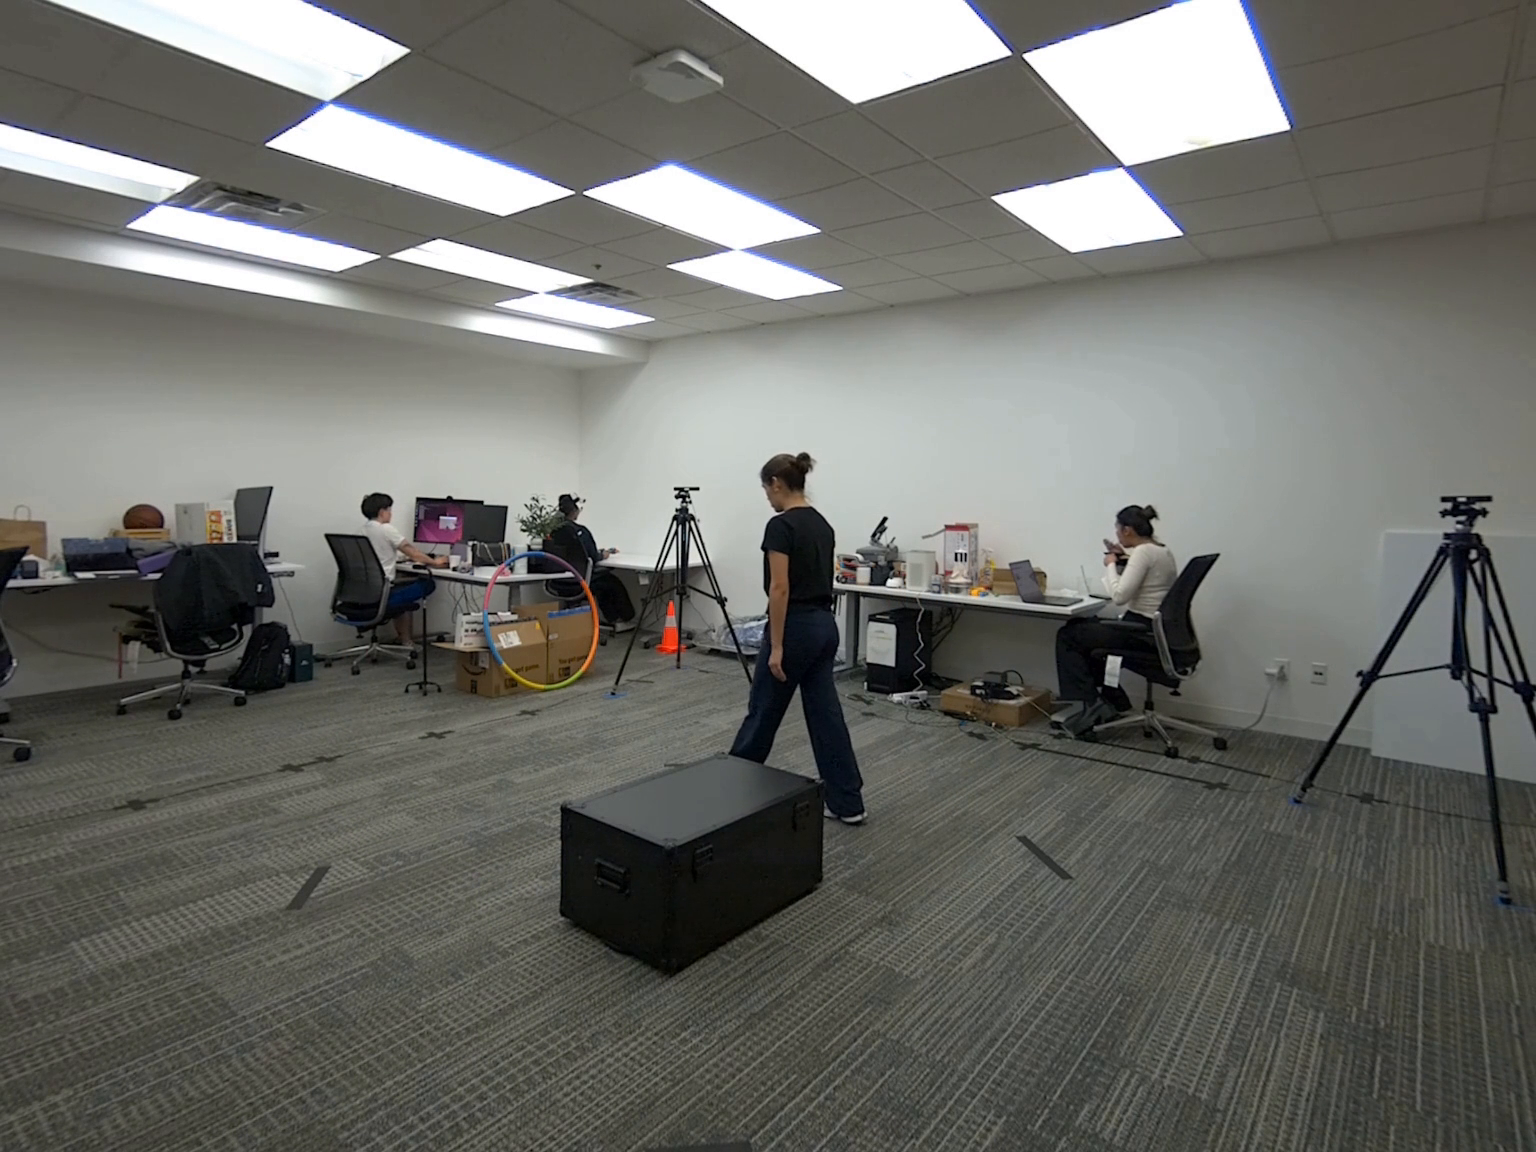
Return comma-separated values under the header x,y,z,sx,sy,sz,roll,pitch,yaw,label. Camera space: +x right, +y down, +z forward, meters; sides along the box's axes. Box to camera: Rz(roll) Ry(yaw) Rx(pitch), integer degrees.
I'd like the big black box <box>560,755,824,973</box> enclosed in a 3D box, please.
x,y,z,sx,sy,sz,roll,pitch,yaw,label
-0.201,0.900,2.863,0.539,0.395,0.836,4,6,39,big black box
